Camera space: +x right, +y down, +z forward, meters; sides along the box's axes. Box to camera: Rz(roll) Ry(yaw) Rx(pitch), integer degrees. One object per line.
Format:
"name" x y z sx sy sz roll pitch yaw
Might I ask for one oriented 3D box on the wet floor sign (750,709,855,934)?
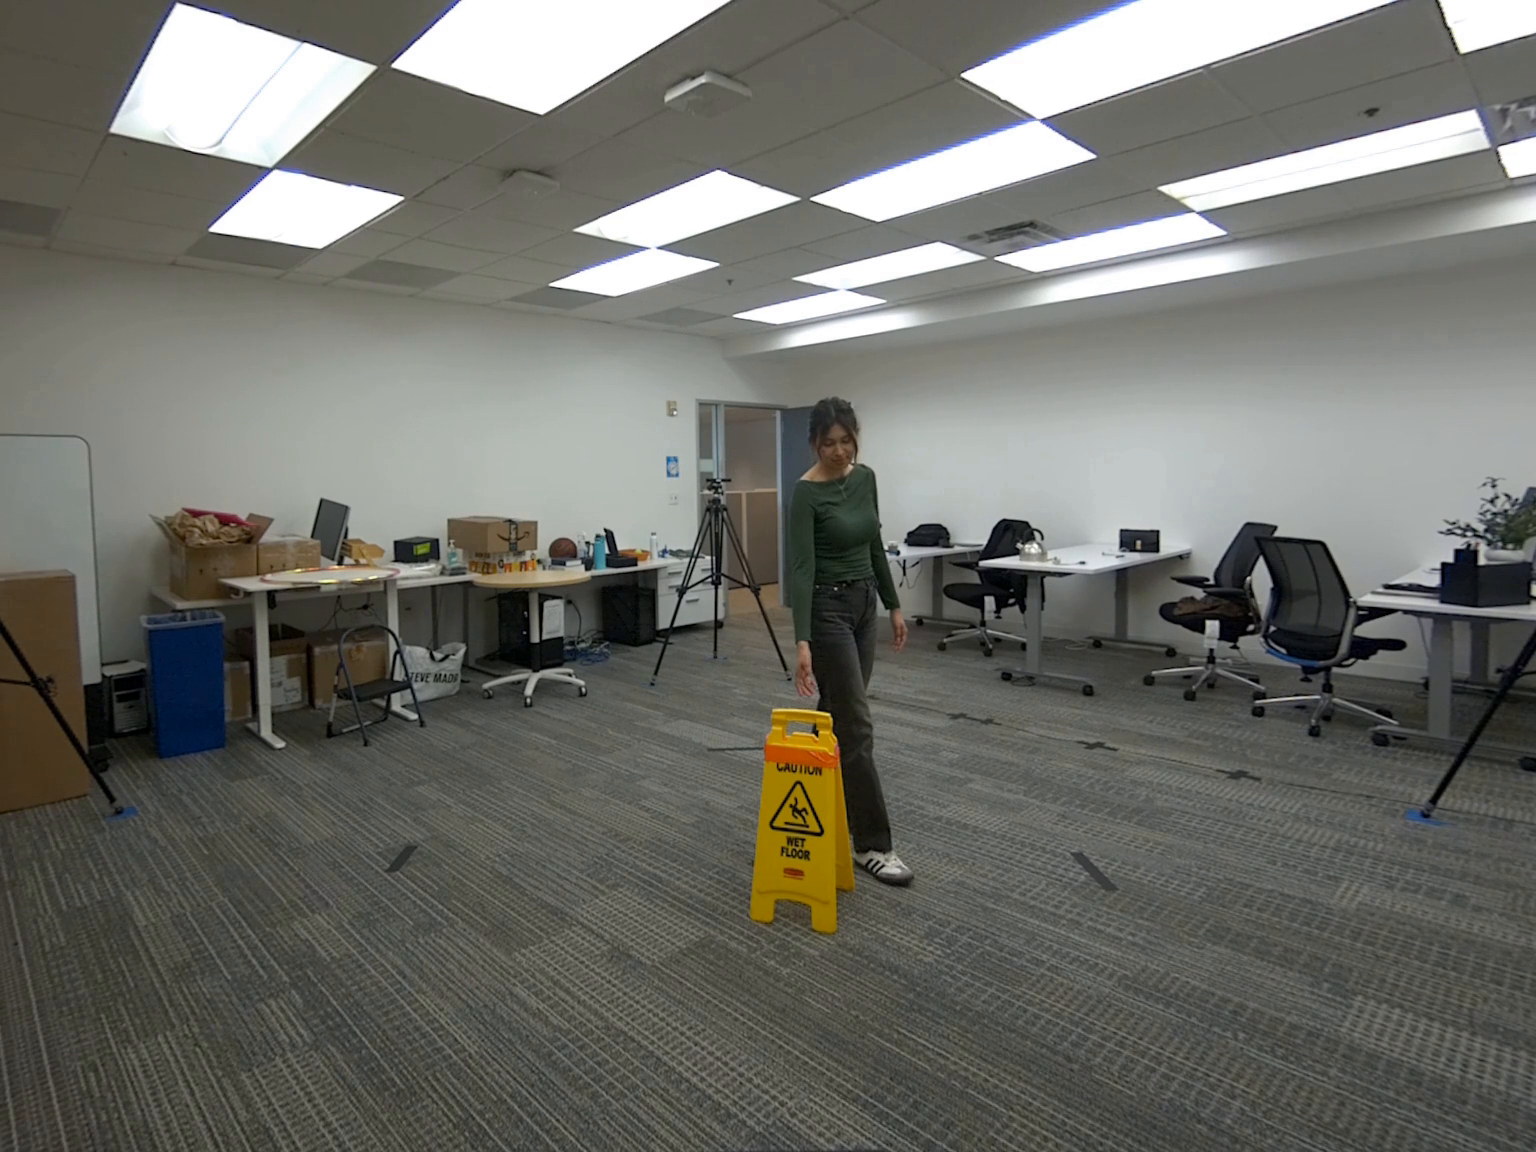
"wet floor sign" 0.118 0.756 2.782 0.287 0.644 0.285 2 4 19
